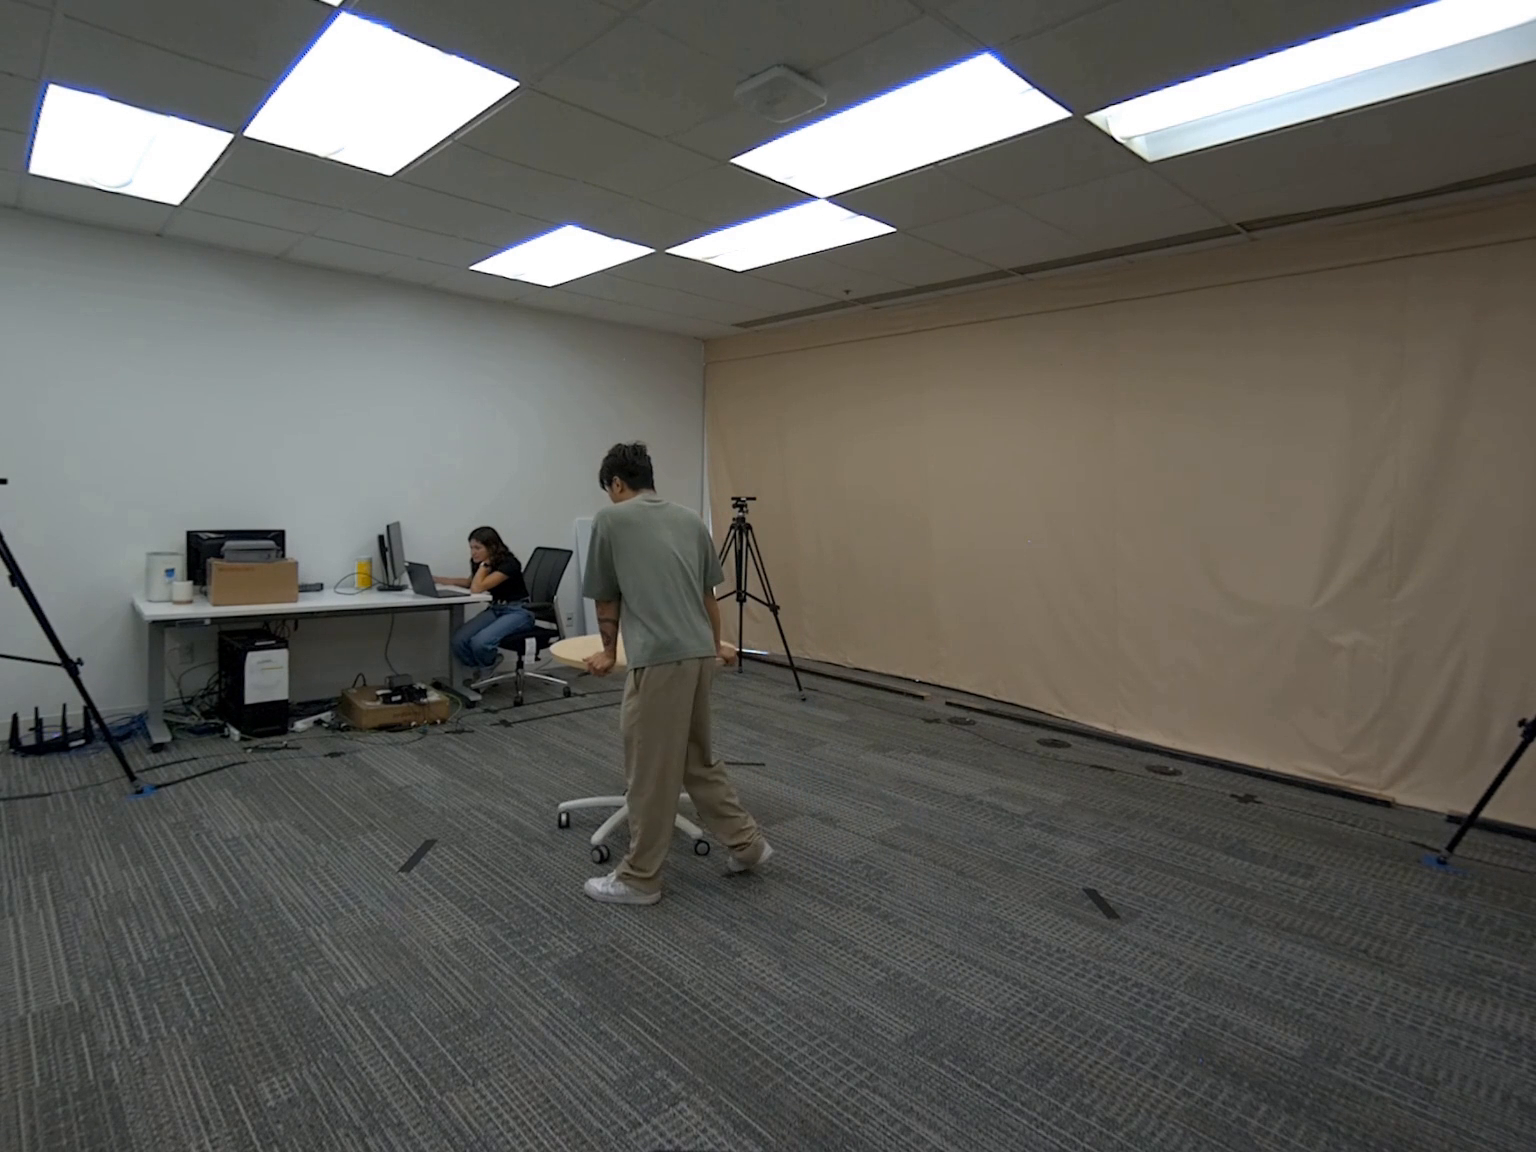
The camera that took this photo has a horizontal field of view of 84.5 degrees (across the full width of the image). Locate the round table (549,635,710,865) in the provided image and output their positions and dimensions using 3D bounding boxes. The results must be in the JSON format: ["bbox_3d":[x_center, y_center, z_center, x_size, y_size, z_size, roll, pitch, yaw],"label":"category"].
[{"bbox_3d":[-0.510,0.681,3.497,0.784,0.784,0.788,1,4,-1],"label":"round table"}]
